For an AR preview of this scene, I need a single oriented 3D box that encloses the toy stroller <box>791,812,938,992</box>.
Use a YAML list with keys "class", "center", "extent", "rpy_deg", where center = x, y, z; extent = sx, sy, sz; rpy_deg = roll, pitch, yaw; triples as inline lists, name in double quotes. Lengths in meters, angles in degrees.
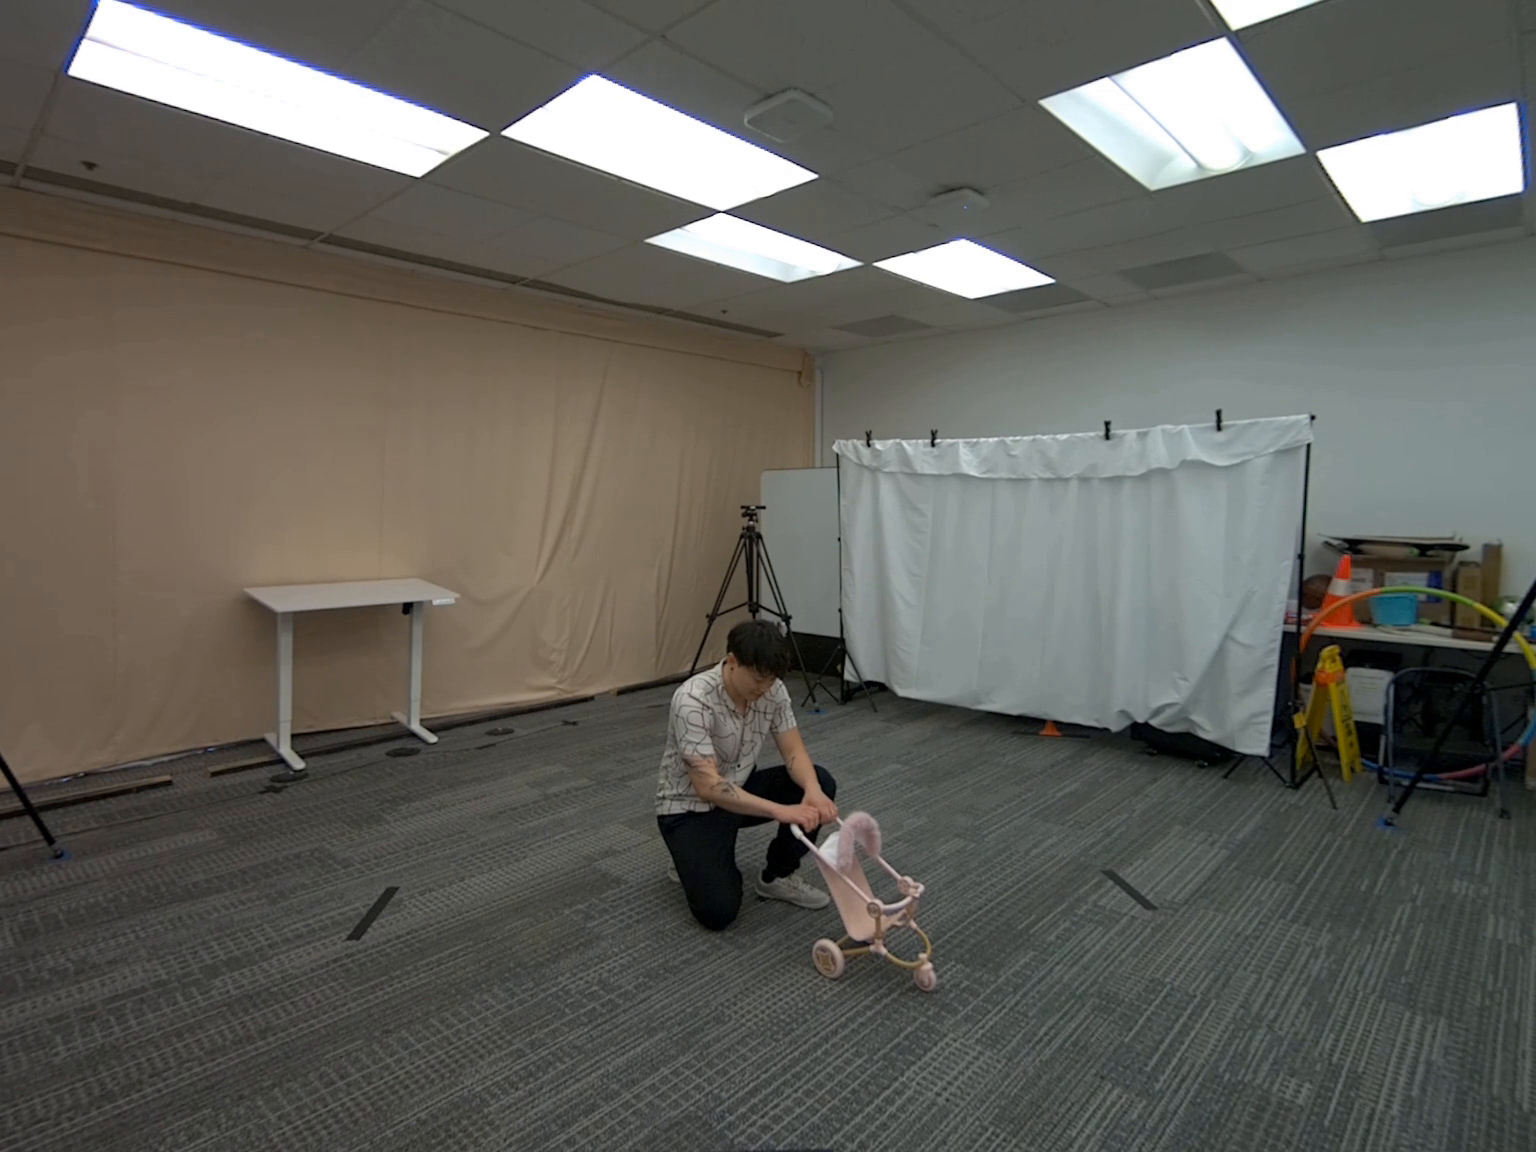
- class: "toy stroller"
  center: [0.302, 0.956, 2.531]
  extent: [0.349, 0.539, 0.273]
  rpy_deg: [-20, -10, 42]
